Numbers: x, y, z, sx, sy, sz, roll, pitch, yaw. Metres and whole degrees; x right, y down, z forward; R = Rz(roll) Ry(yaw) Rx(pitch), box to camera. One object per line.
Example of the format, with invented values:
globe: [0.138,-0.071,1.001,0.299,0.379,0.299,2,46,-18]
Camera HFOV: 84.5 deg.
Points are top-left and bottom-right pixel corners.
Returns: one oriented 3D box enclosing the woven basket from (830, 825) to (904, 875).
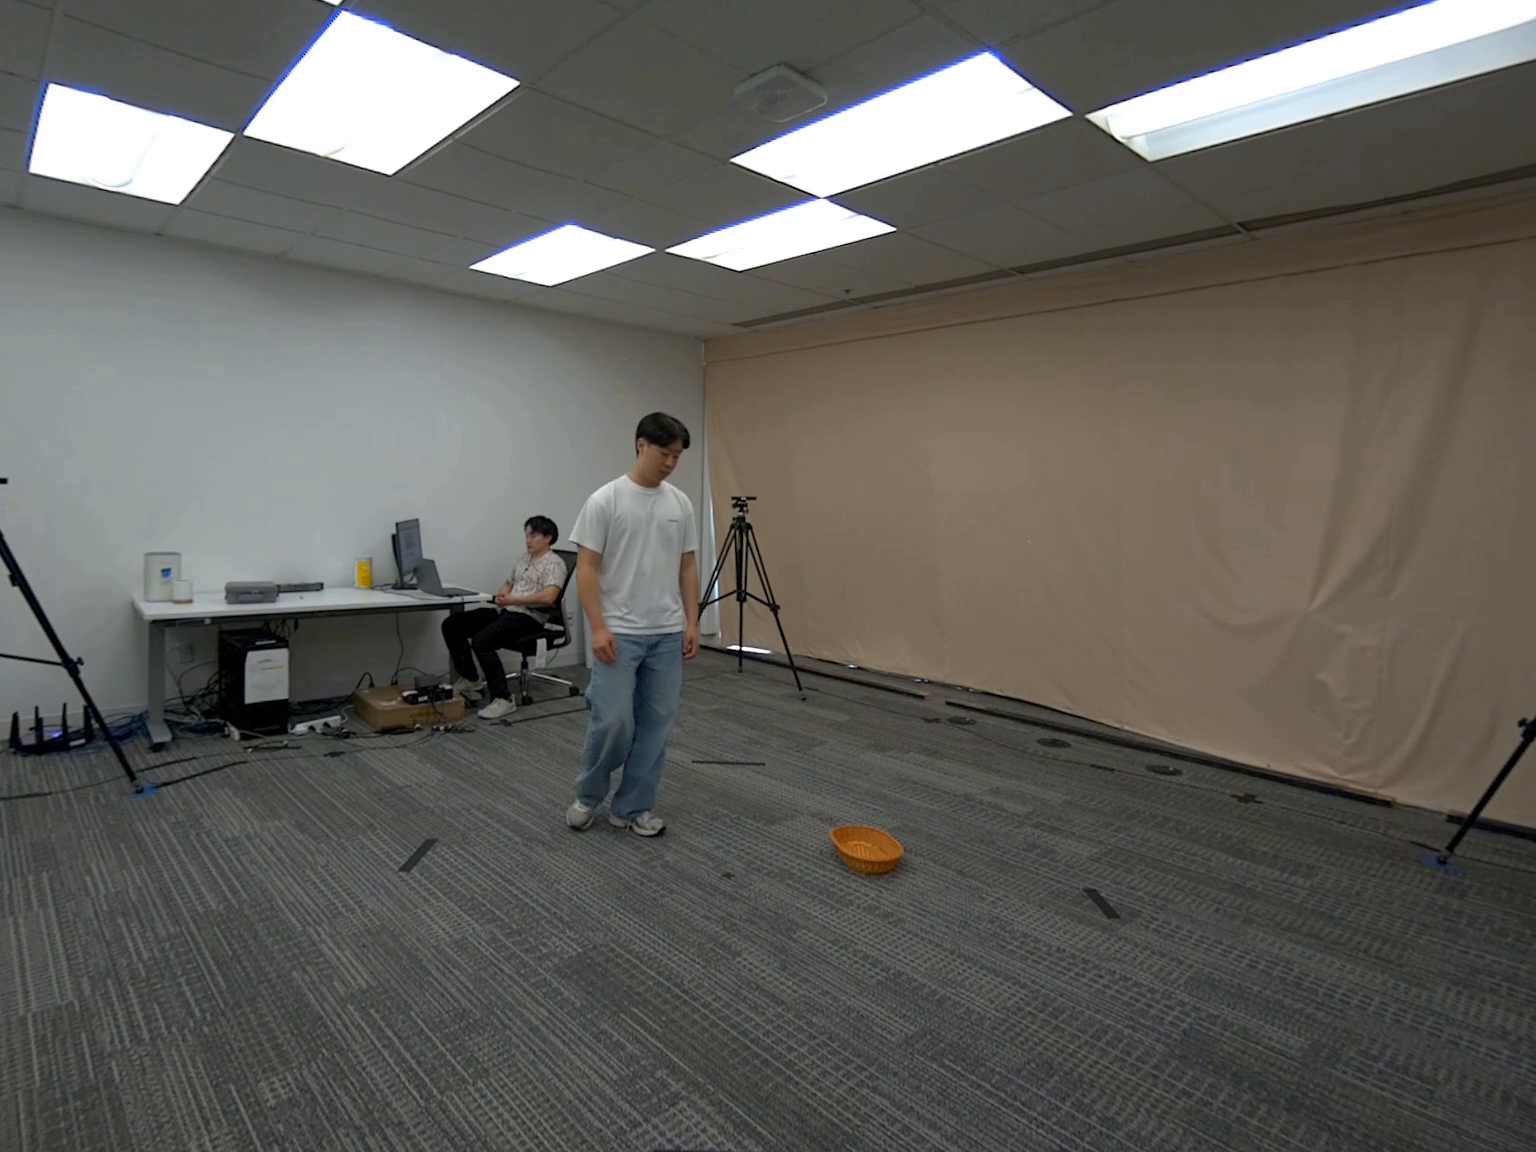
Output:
woven basket: [0.370,1.061,3.277,0.249,0.073,0.355,0,5,-16]
